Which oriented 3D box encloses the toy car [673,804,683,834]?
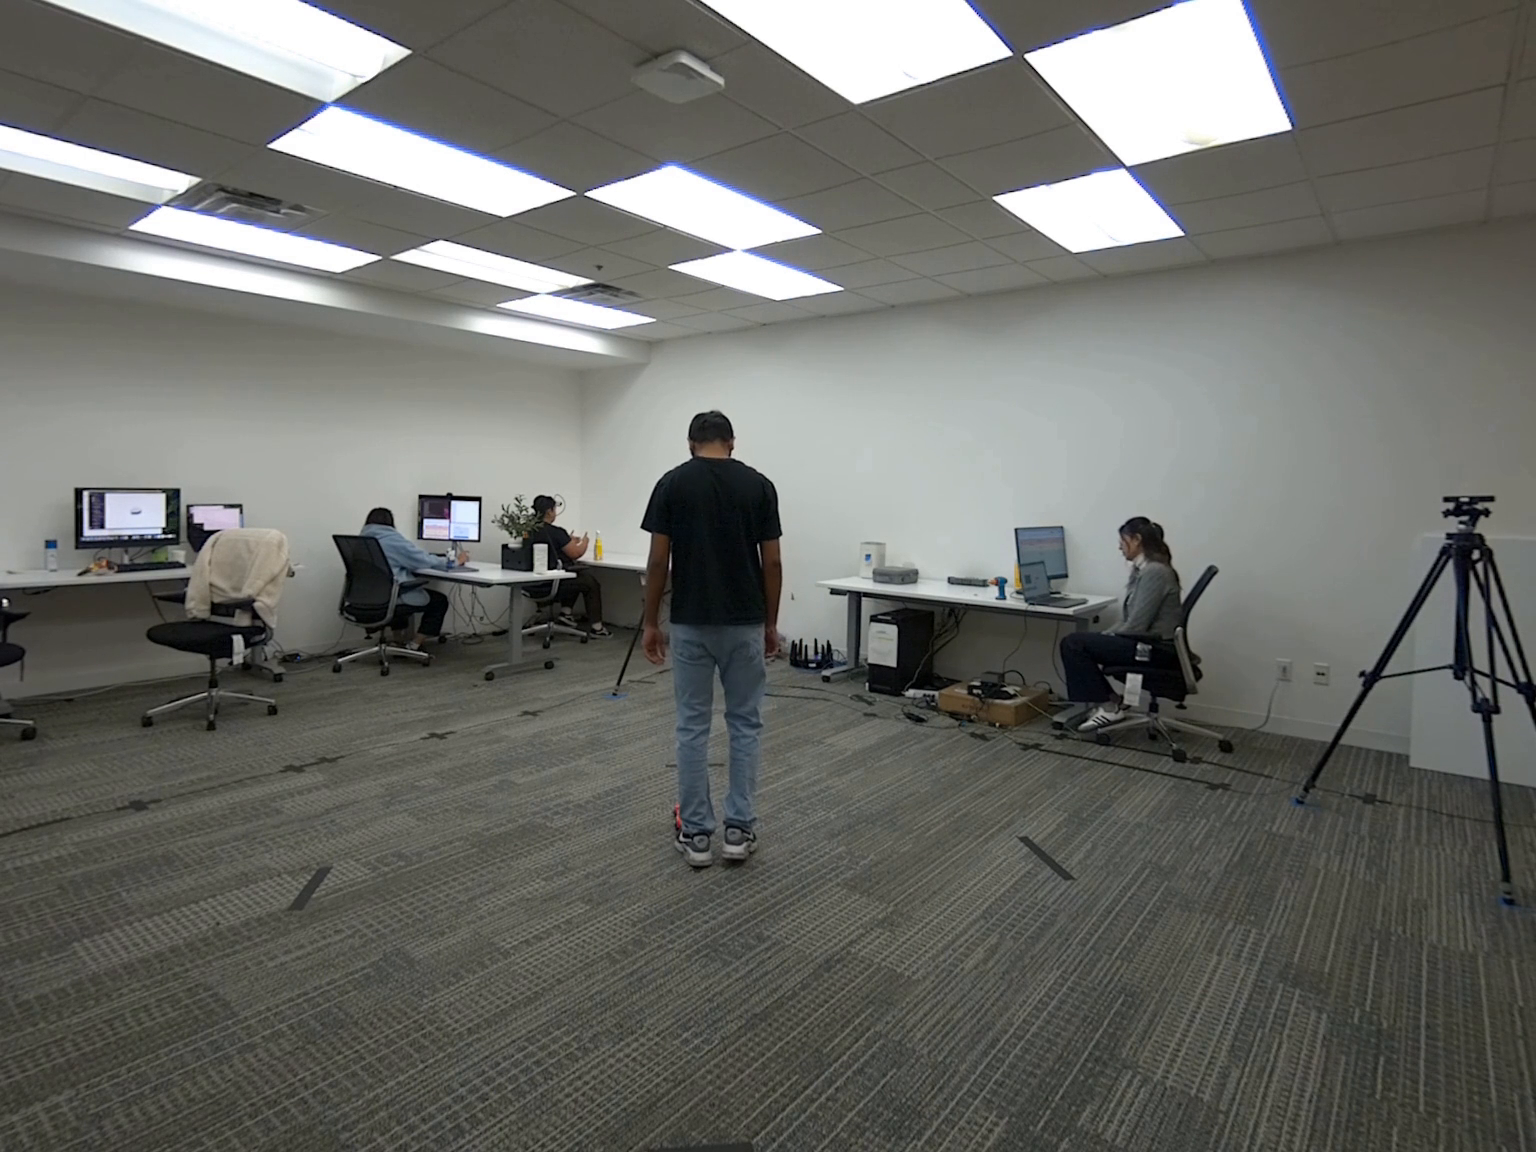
[{"bbox_3d":[-0.334,0.988,3.515,0.129,0.084,0.254,1,-6,-7],"label":"toy car"}]
